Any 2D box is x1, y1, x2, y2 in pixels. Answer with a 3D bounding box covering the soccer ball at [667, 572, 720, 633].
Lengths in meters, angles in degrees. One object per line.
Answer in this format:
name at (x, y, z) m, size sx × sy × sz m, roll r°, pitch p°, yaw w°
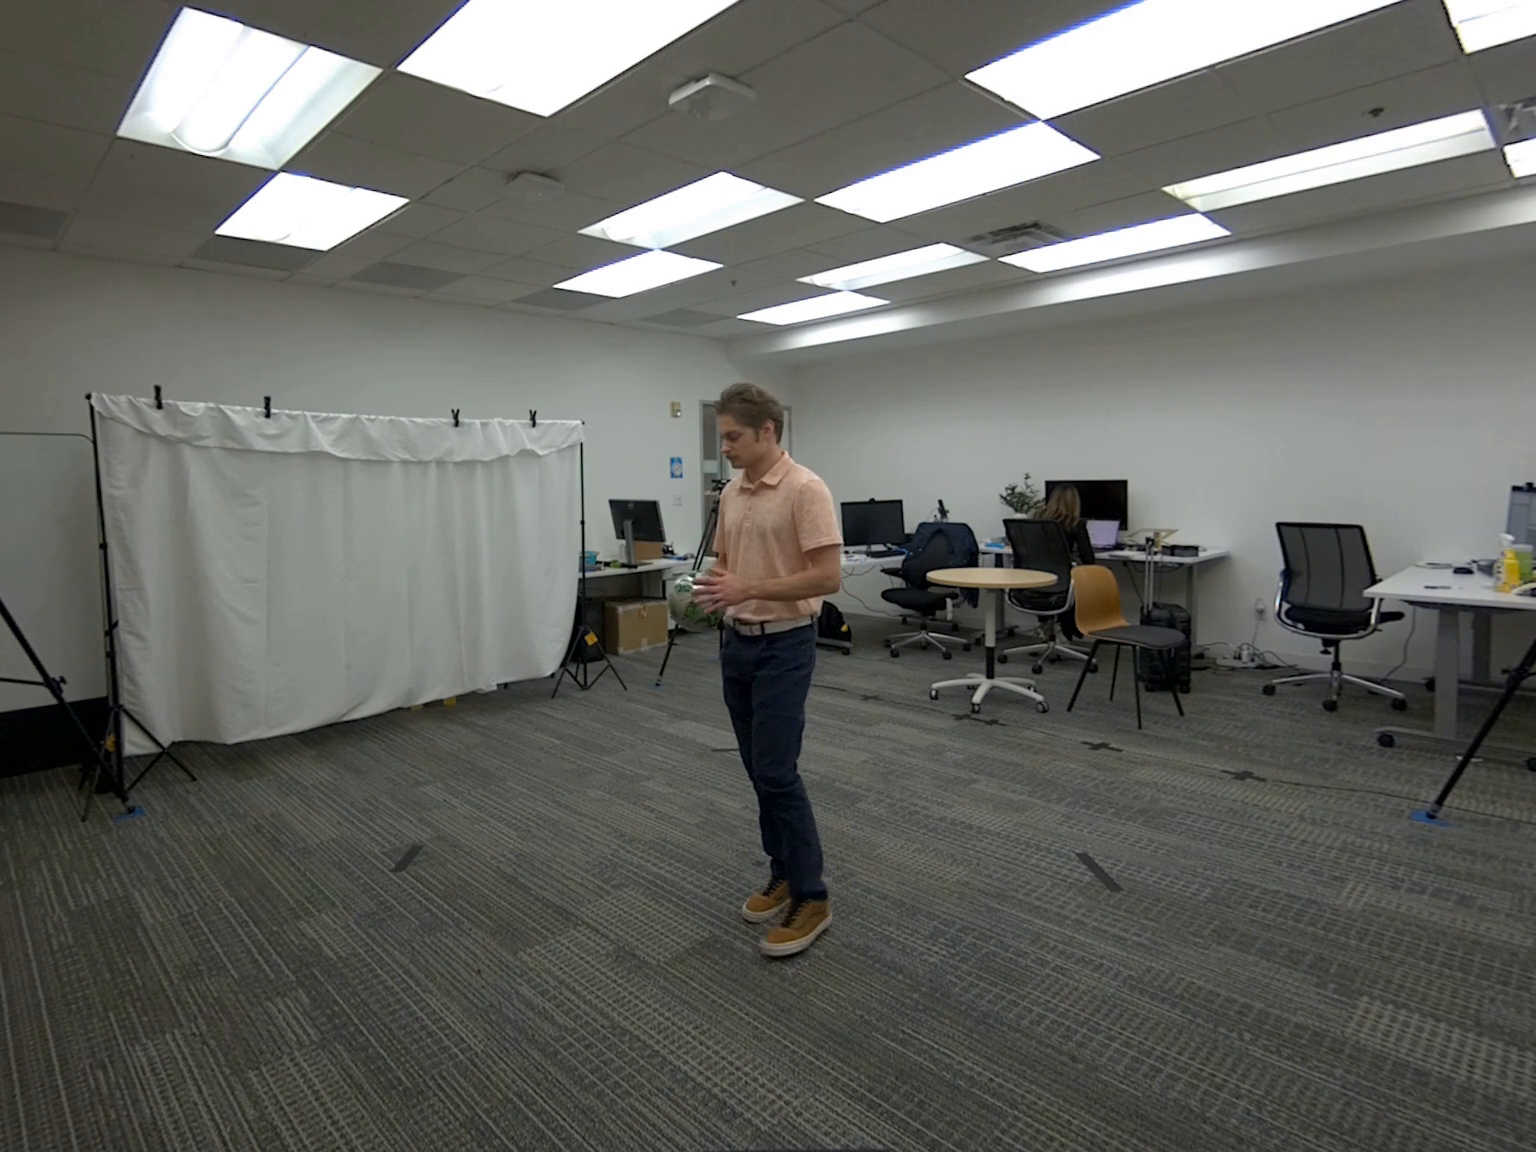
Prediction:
soccer ball at (-0.205, 0.076, 2.626) m, size 0.187 × 0.187 × 0.188 m, roll -1°, pitch 5°, yaw -2°
